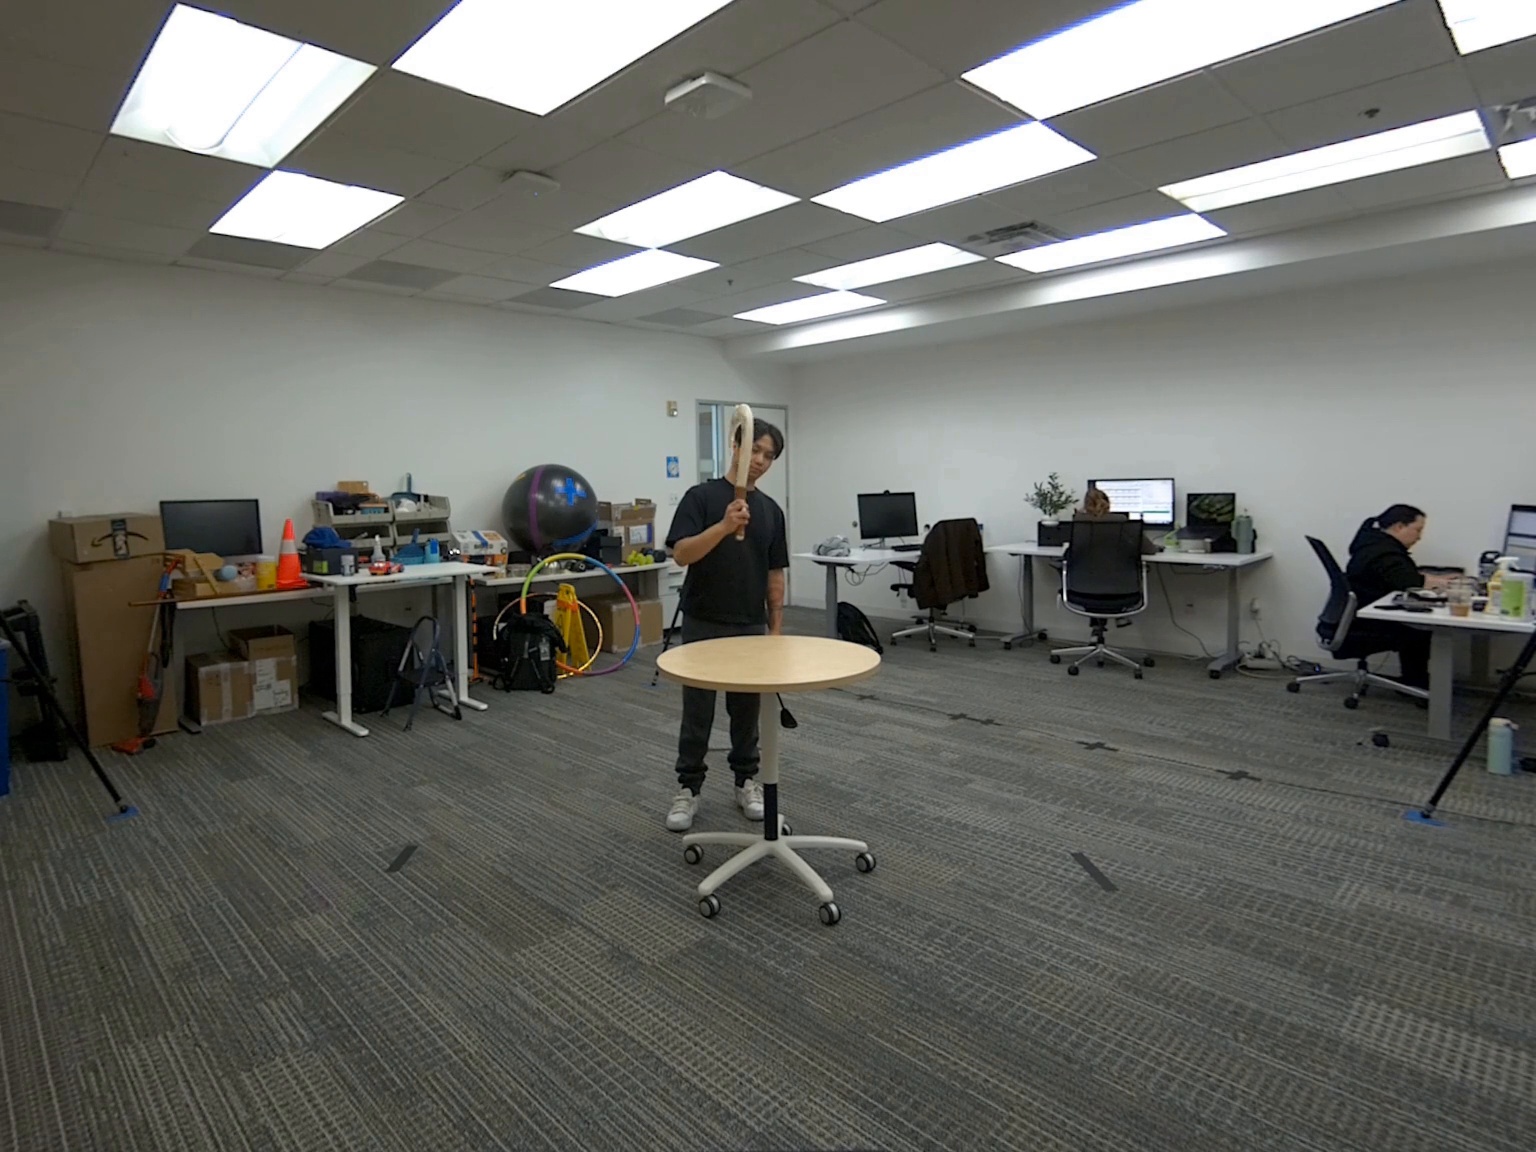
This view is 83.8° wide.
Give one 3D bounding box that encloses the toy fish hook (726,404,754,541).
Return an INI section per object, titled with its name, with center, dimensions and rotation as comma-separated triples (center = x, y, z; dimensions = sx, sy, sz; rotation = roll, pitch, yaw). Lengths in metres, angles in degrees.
[toy fish hook]
center = -0.110, -0.377, 3.227
dimensions = 0.047, 0.504, 0.229
rotation = 3, 5, -16
